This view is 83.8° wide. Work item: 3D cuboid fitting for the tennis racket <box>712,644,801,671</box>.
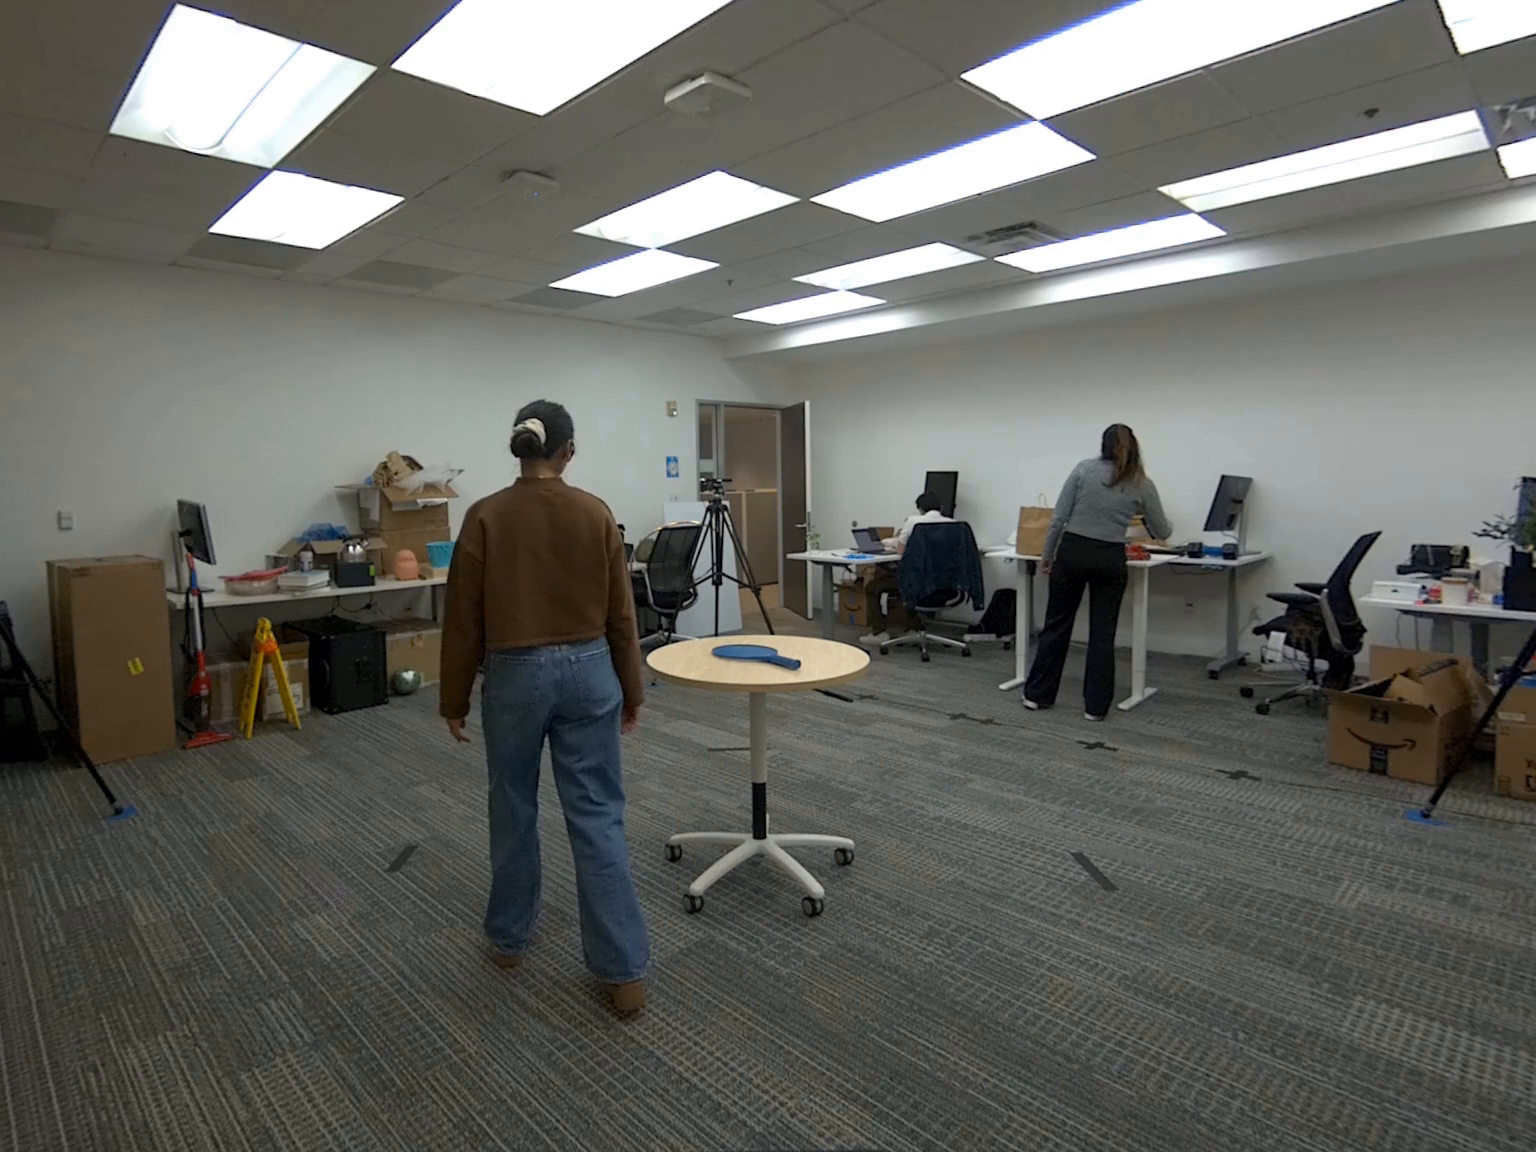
[{"bbox_3d":[-0.027,0.277,2.918,0.208,0.031,0.445,-4,6,-32],"label":"tennis racket"}]
